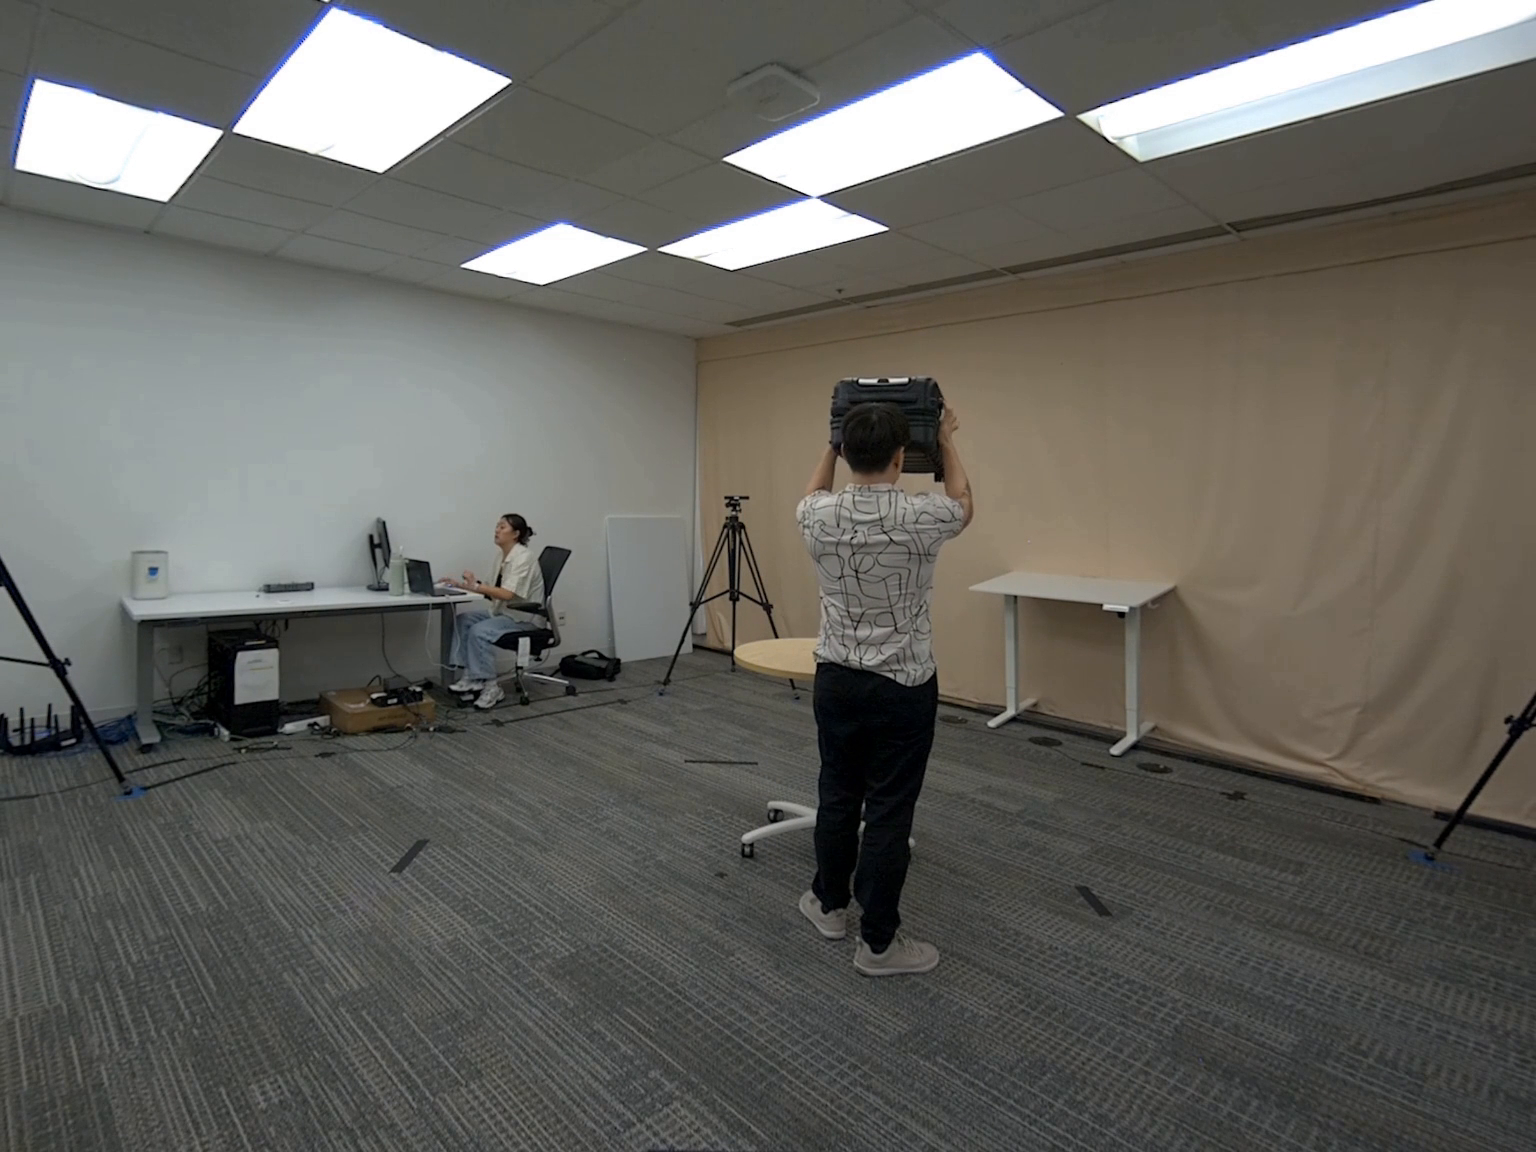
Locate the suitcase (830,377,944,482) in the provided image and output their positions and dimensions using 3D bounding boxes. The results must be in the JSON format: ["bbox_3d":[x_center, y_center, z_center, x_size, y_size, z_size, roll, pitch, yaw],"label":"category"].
[{"bbox_3d":[0.426,-0.509,2.896,0.381,0.249,0.540,1,-2,17],"label":"suitcase"}]
